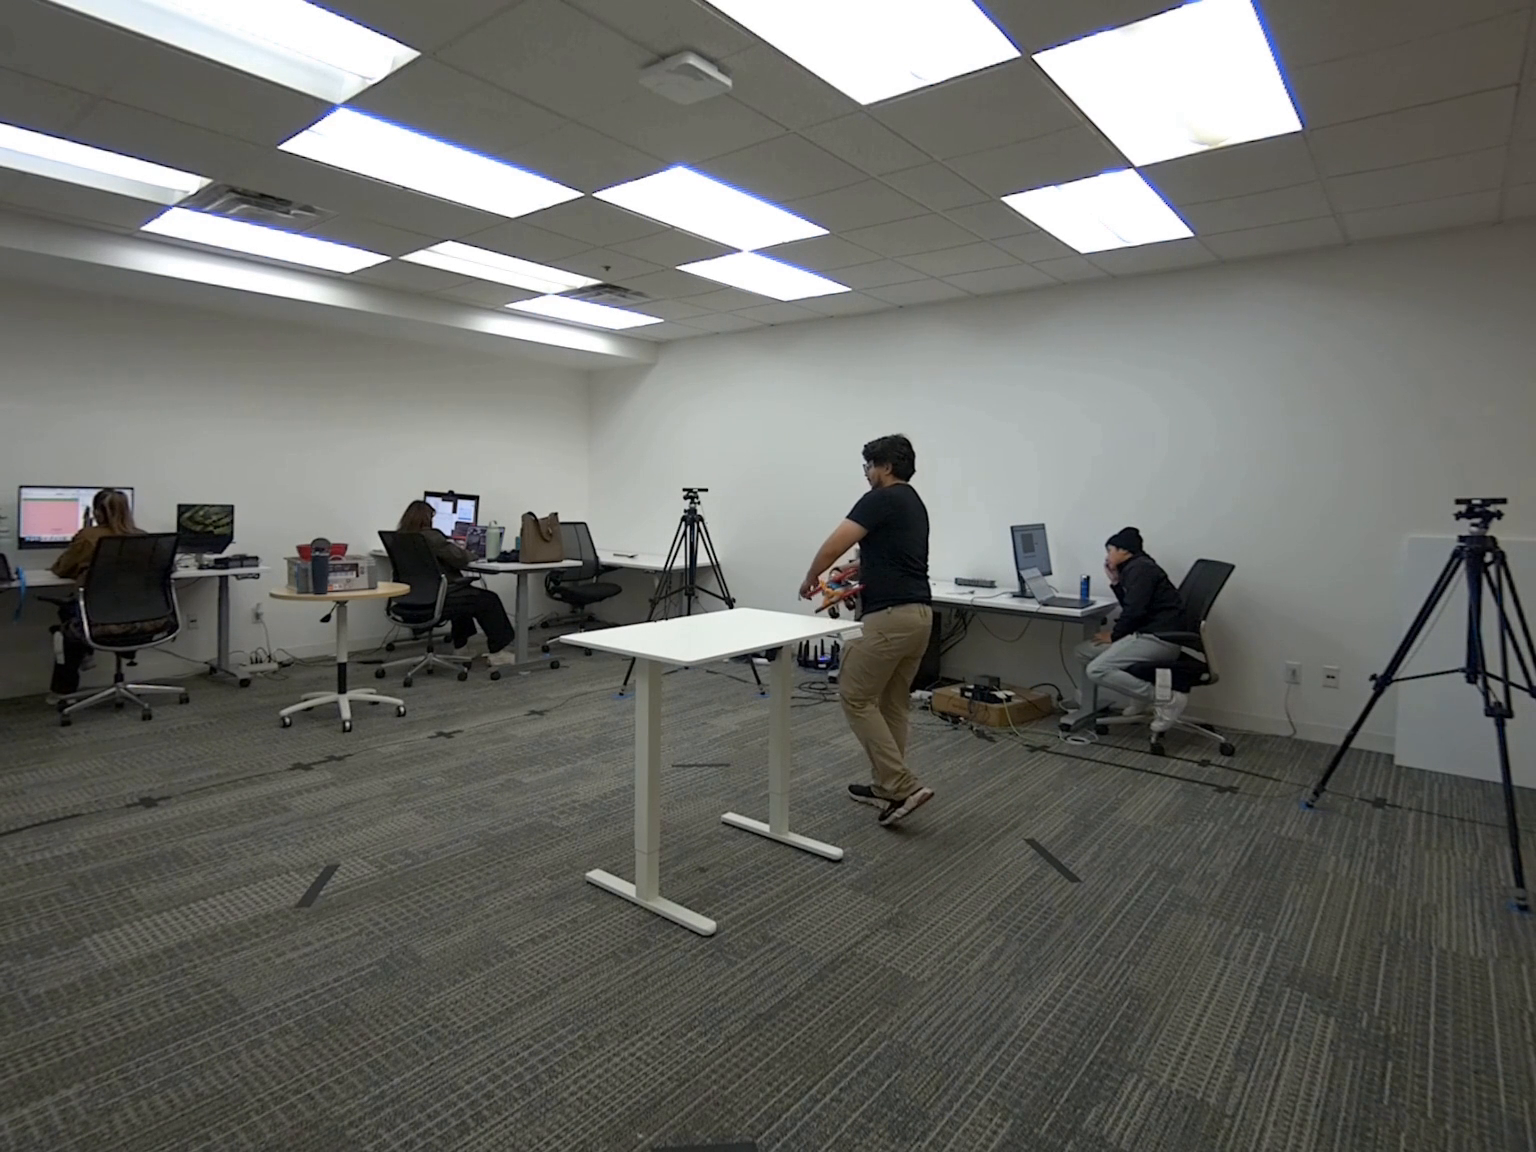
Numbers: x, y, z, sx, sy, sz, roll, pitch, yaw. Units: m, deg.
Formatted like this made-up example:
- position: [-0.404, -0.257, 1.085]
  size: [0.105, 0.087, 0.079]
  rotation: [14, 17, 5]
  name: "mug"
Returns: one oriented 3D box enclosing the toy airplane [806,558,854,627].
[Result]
- position: [0.303, 0.066, 3.711]
  size: [0.251, 0.156, 0.260]
  rotation: [-34, 4, 4]
  name: "toy airplane"
